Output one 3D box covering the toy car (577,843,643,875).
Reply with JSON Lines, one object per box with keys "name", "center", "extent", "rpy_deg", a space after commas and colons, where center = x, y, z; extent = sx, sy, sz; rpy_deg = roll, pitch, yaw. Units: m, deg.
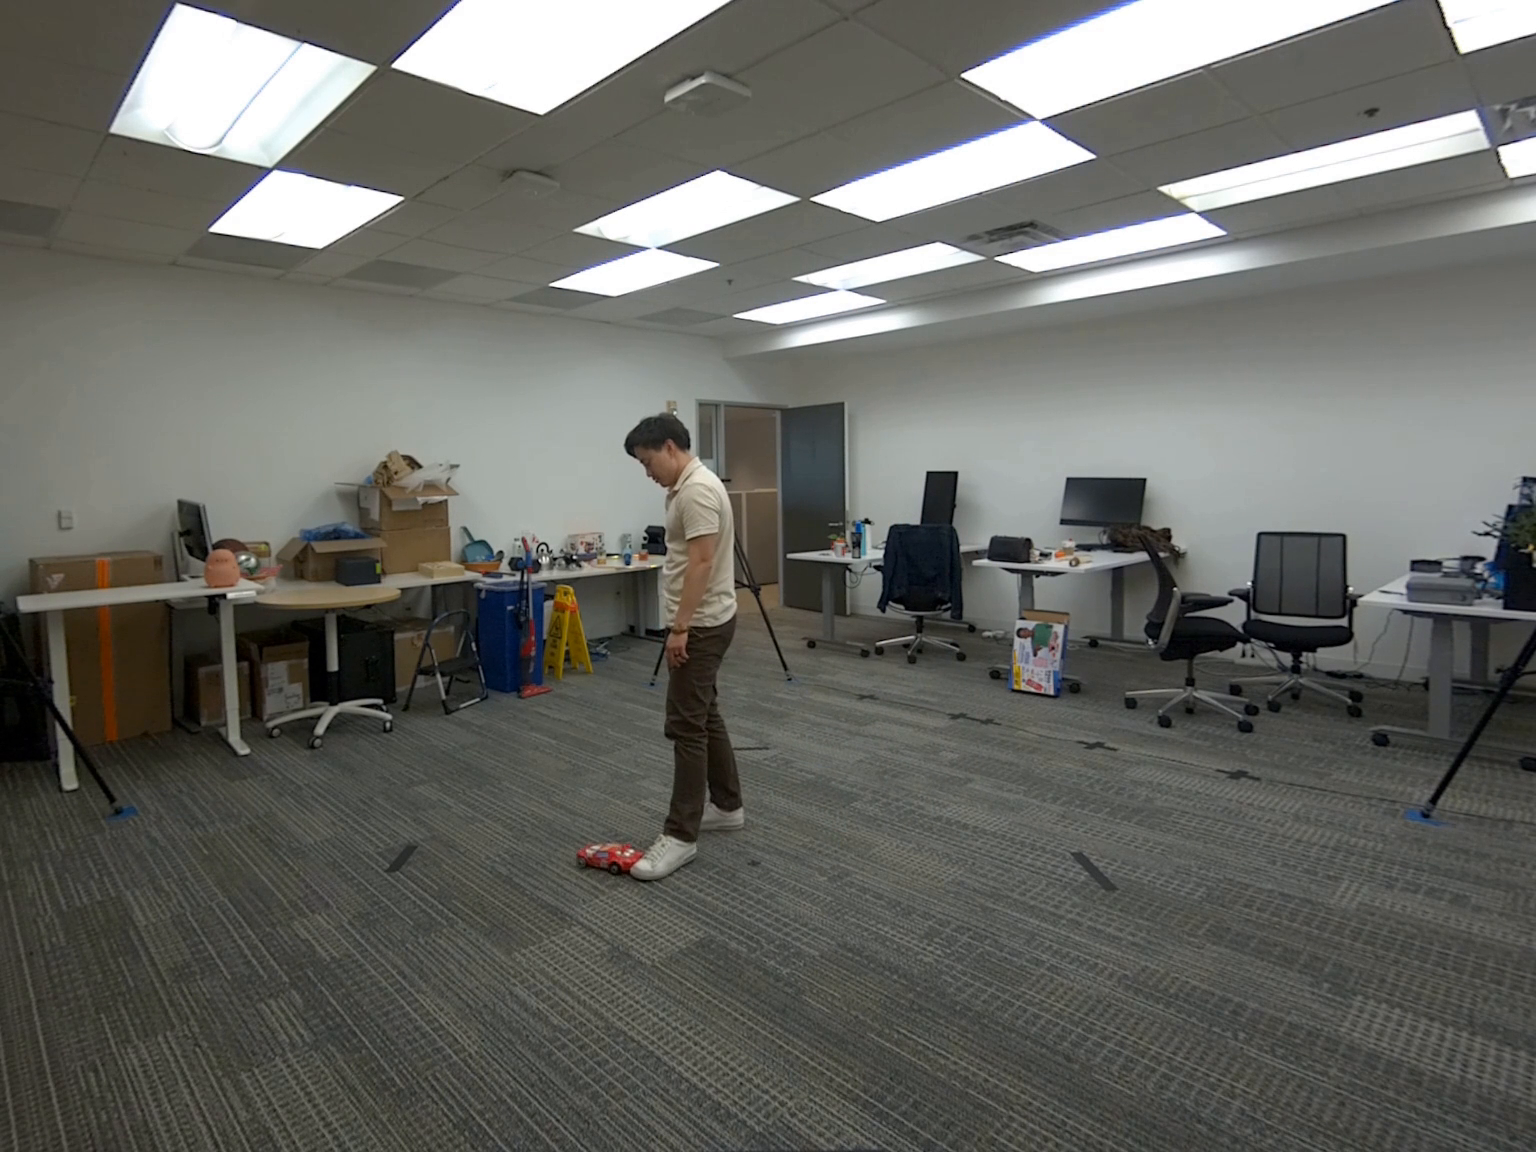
{"name": "toy car", "center": [-0.561, 1.022, 3.094], "extent": [0.259, 0.083, 0.128], "rpy_deg": [-10, 1, 25]}
